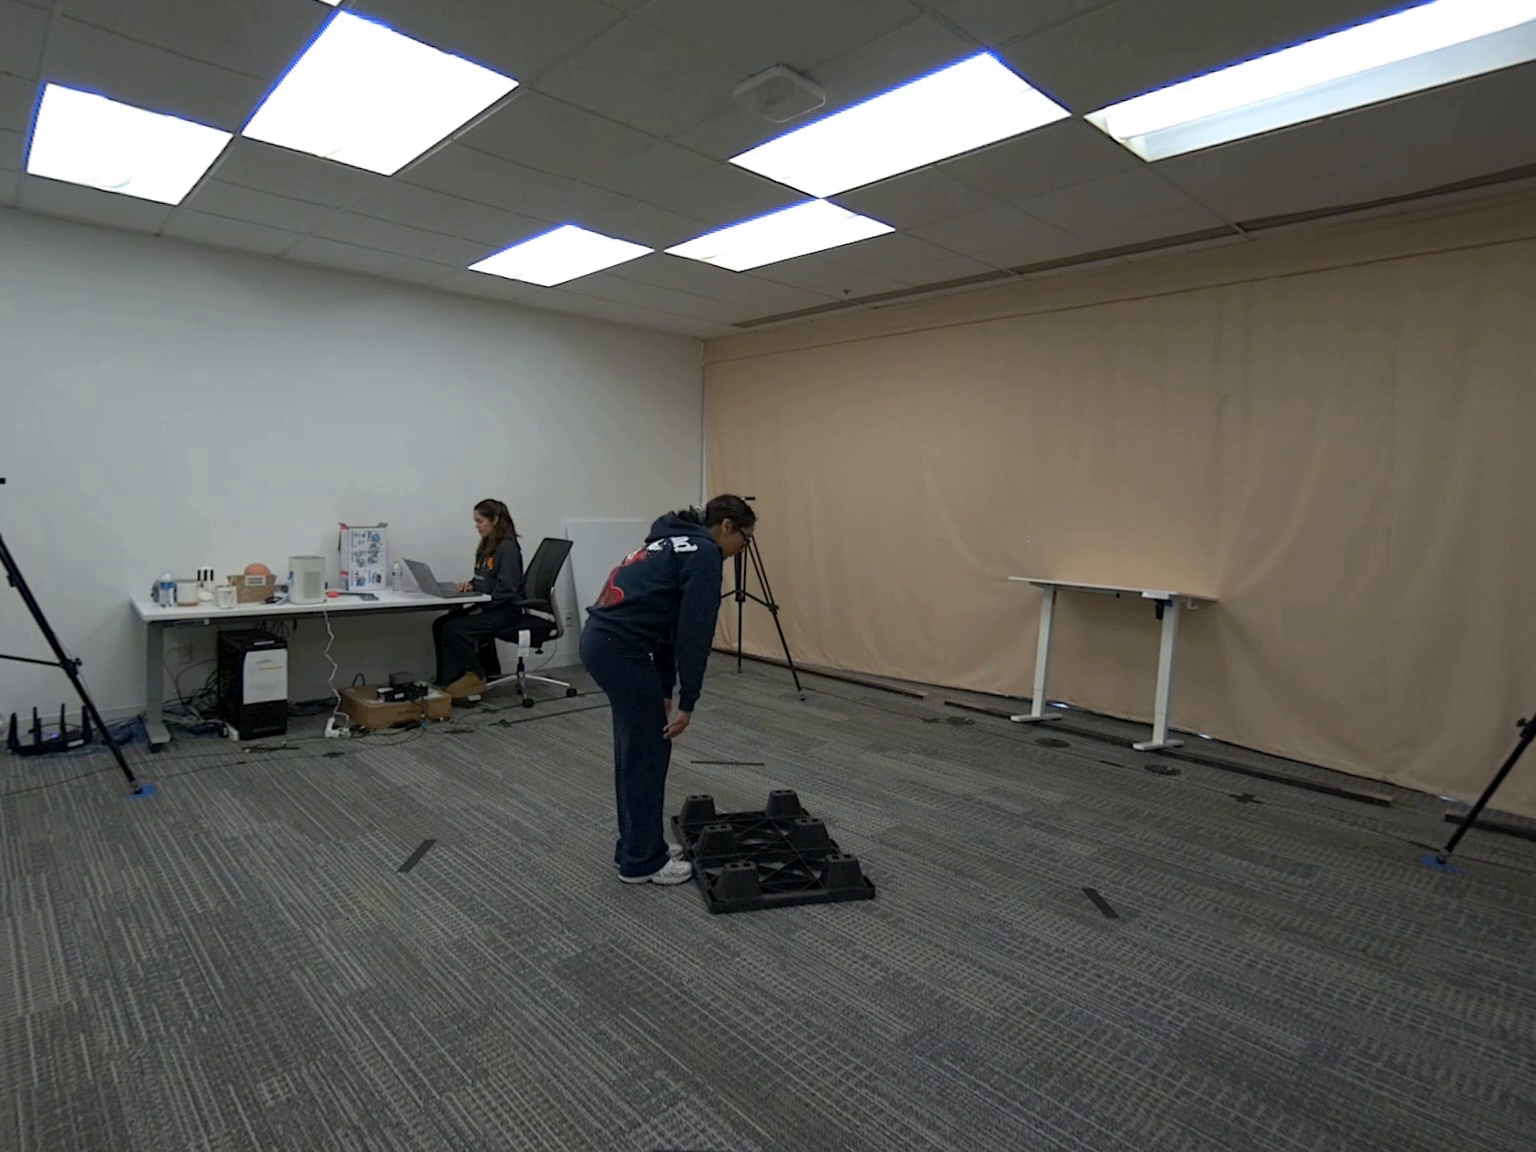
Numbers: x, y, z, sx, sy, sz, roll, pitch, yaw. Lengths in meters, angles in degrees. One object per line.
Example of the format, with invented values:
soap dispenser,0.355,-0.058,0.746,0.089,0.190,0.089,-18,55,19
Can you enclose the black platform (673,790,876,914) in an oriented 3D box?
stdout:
black platform,-0.024,1.026,3.263,0.597,0.143,0.818,0,5,-17
